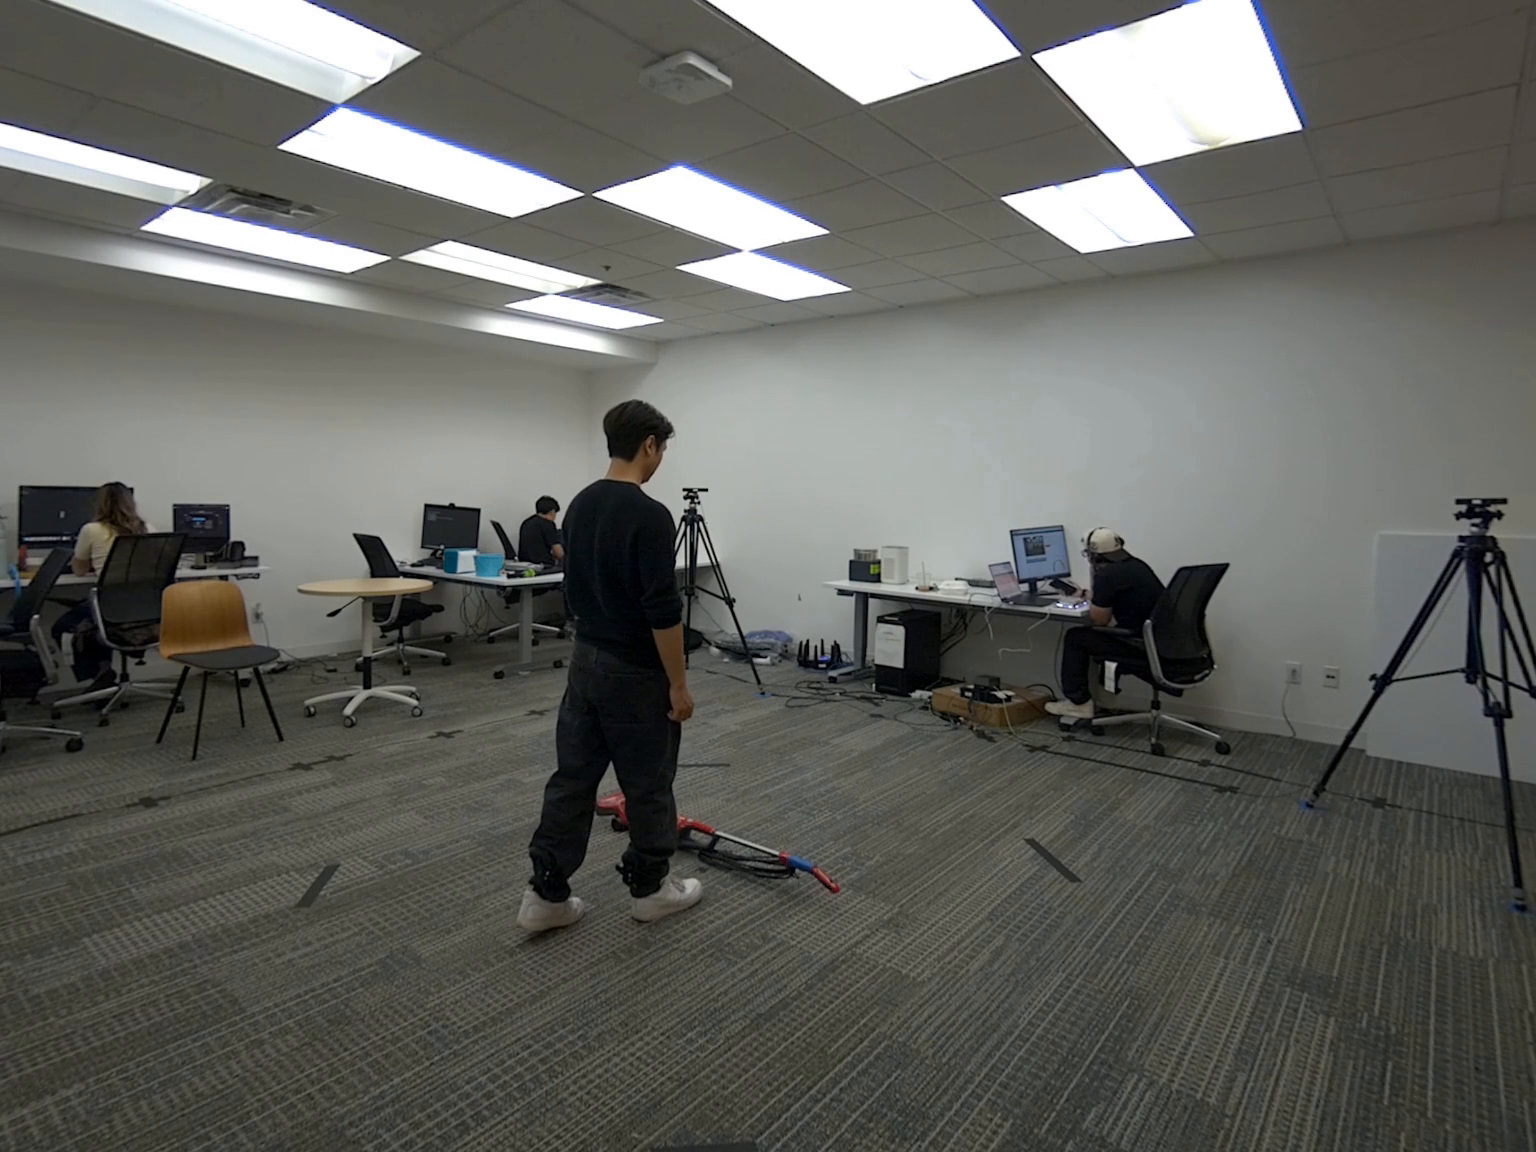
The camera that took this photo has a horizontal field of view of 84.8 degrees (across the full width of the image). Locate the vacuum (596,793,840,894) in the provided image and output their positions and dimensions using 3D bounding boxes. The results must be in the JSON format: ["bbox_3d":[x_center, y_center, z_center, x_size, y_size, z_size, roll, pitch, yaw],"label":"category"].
[{"bbox_3d":[-0.201,1.003,3.173,1.085,0.143,0.245,7,8,39],"label":"vacuum"}]
